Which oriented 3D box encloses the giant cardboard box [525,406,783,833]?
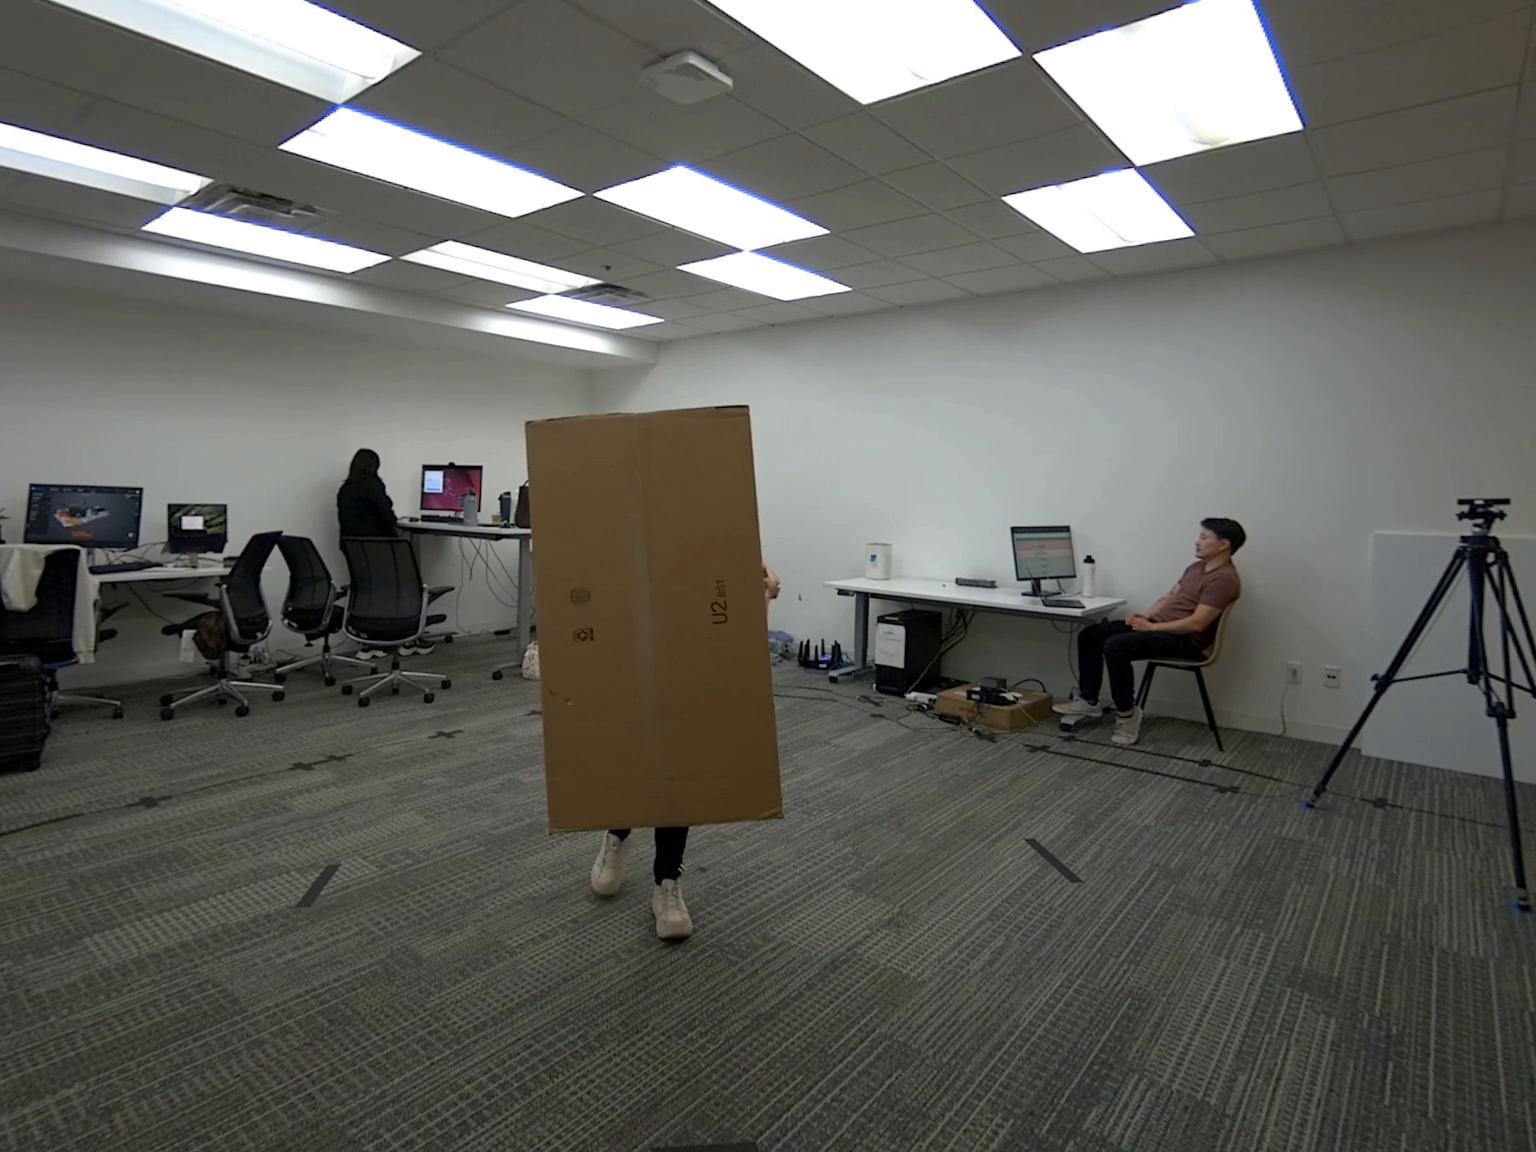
[{"bbox_3d":[-0.310,0.107,2.304,0.583,1.032,0.446,-4,-4,-2],"label":"giant cardboard box"}]
